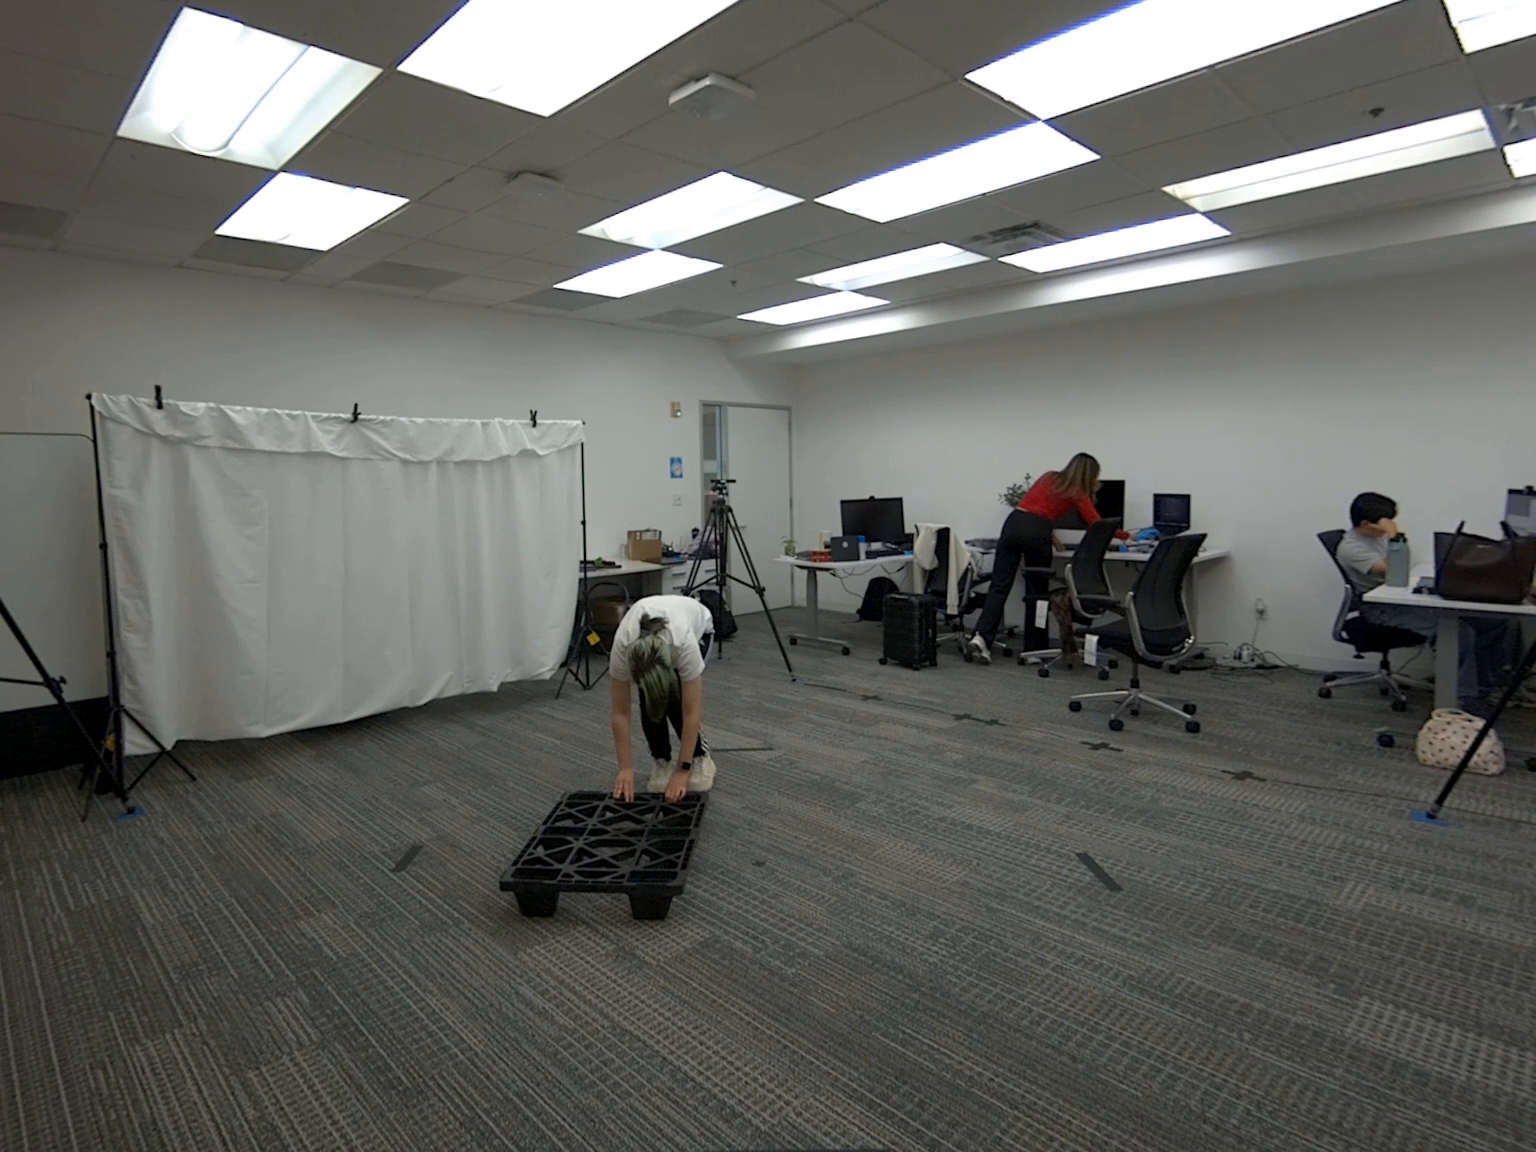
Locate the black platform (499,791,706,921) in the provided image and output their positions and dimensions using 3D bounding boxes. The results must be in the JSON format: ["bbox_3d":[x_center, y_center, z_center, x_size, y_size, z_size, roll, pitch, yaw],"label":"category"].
[{"bbox_3d":[-0.550,0.990,3.099,0.608,0.143,0.805,-2,6,4],"label":"black platform"}]
